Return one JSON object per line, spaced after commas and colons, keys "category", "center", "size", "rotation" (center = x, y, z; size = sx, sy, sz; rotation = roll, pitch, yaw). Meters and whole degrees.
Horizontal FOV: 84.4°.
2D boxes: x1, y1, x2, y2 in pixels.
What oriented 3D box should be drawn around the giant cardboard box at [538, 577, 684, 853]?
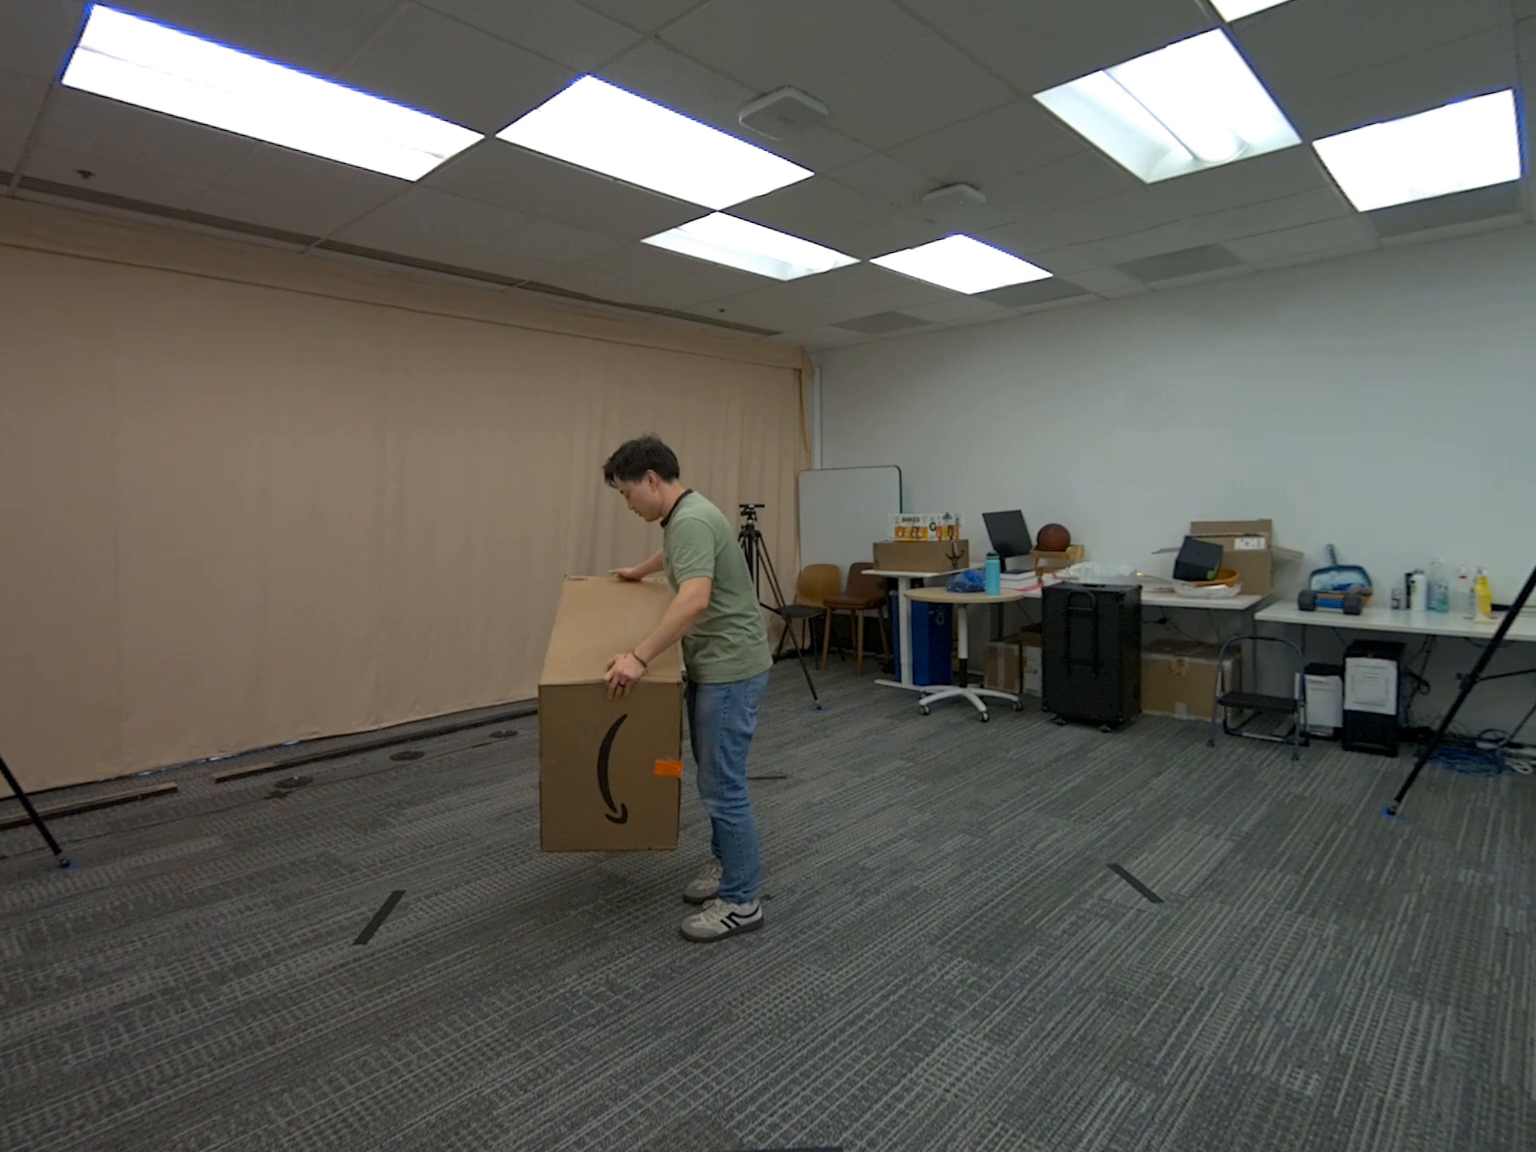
{"category": "giant cardboard box", "center": [-0.555, 0.431, 3.012], "size": [0.422, 0.572, 1.044], "rotation": [1, 17, -9]}
